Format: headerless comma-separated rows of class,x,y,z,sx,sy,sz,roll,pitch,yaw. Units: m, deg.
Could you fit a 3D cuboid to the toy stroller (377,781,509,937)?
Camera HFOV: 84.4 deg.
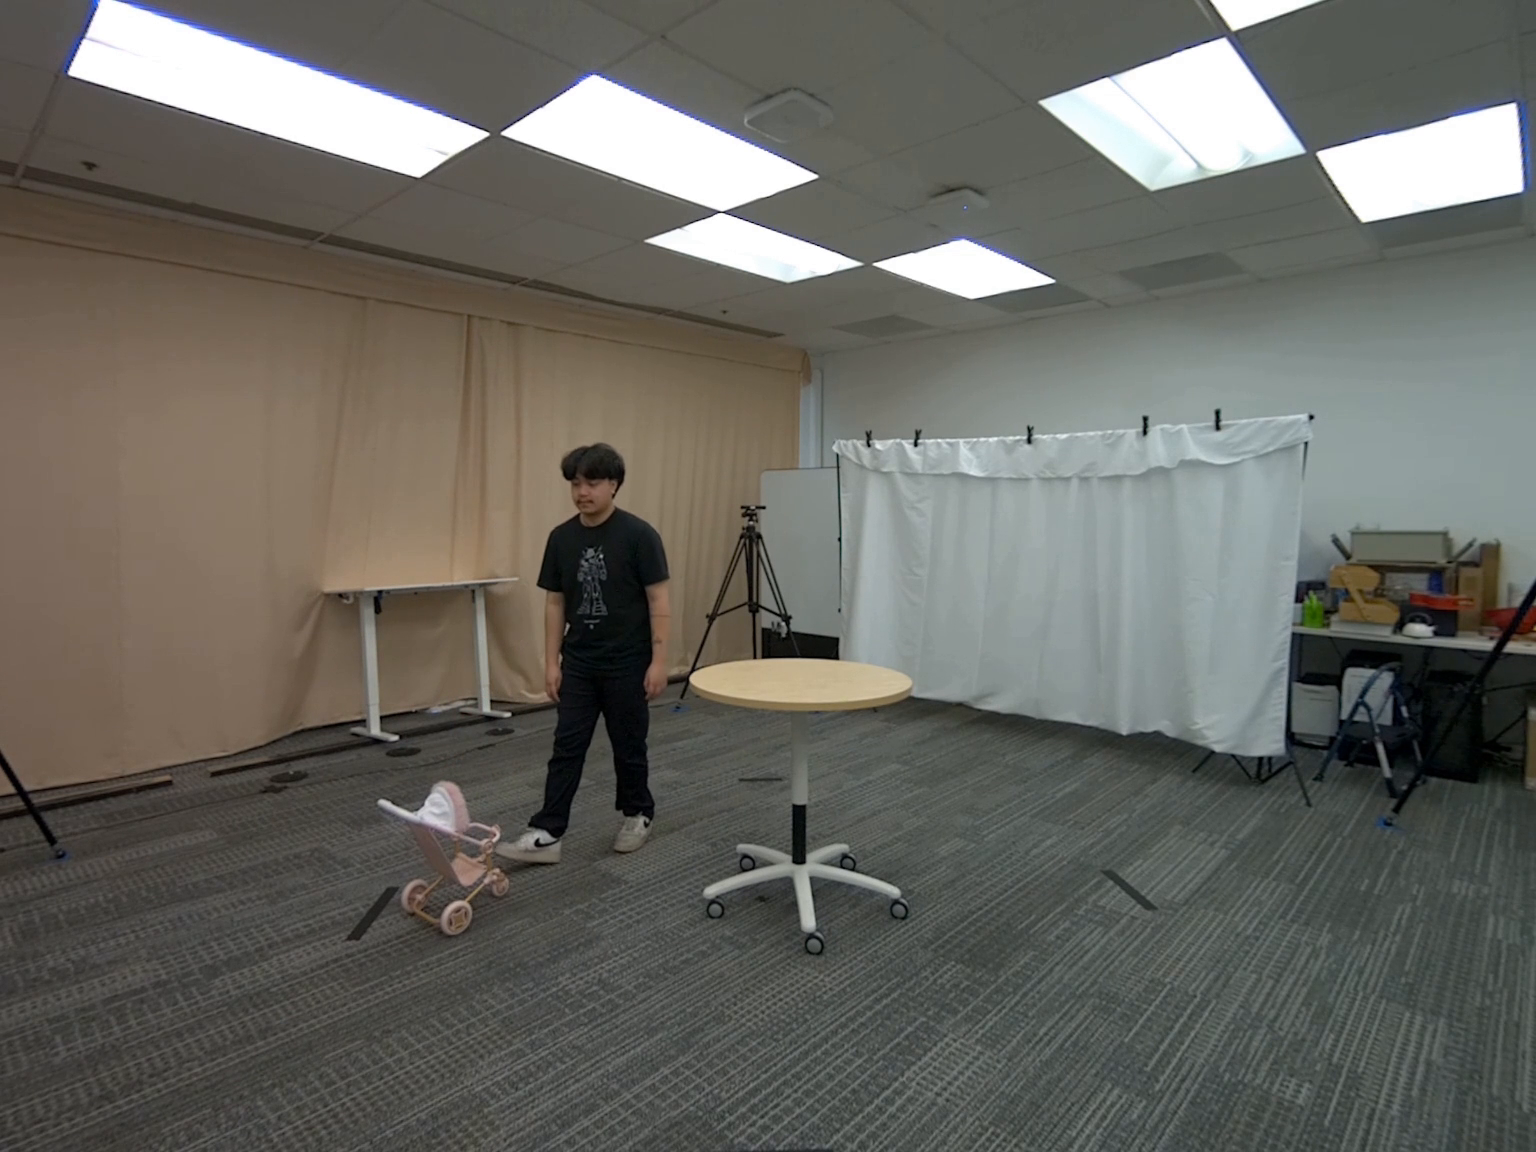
toy stroller,-1.080,0.939,2.870,0.290,0.529,0.334,1,18,42
